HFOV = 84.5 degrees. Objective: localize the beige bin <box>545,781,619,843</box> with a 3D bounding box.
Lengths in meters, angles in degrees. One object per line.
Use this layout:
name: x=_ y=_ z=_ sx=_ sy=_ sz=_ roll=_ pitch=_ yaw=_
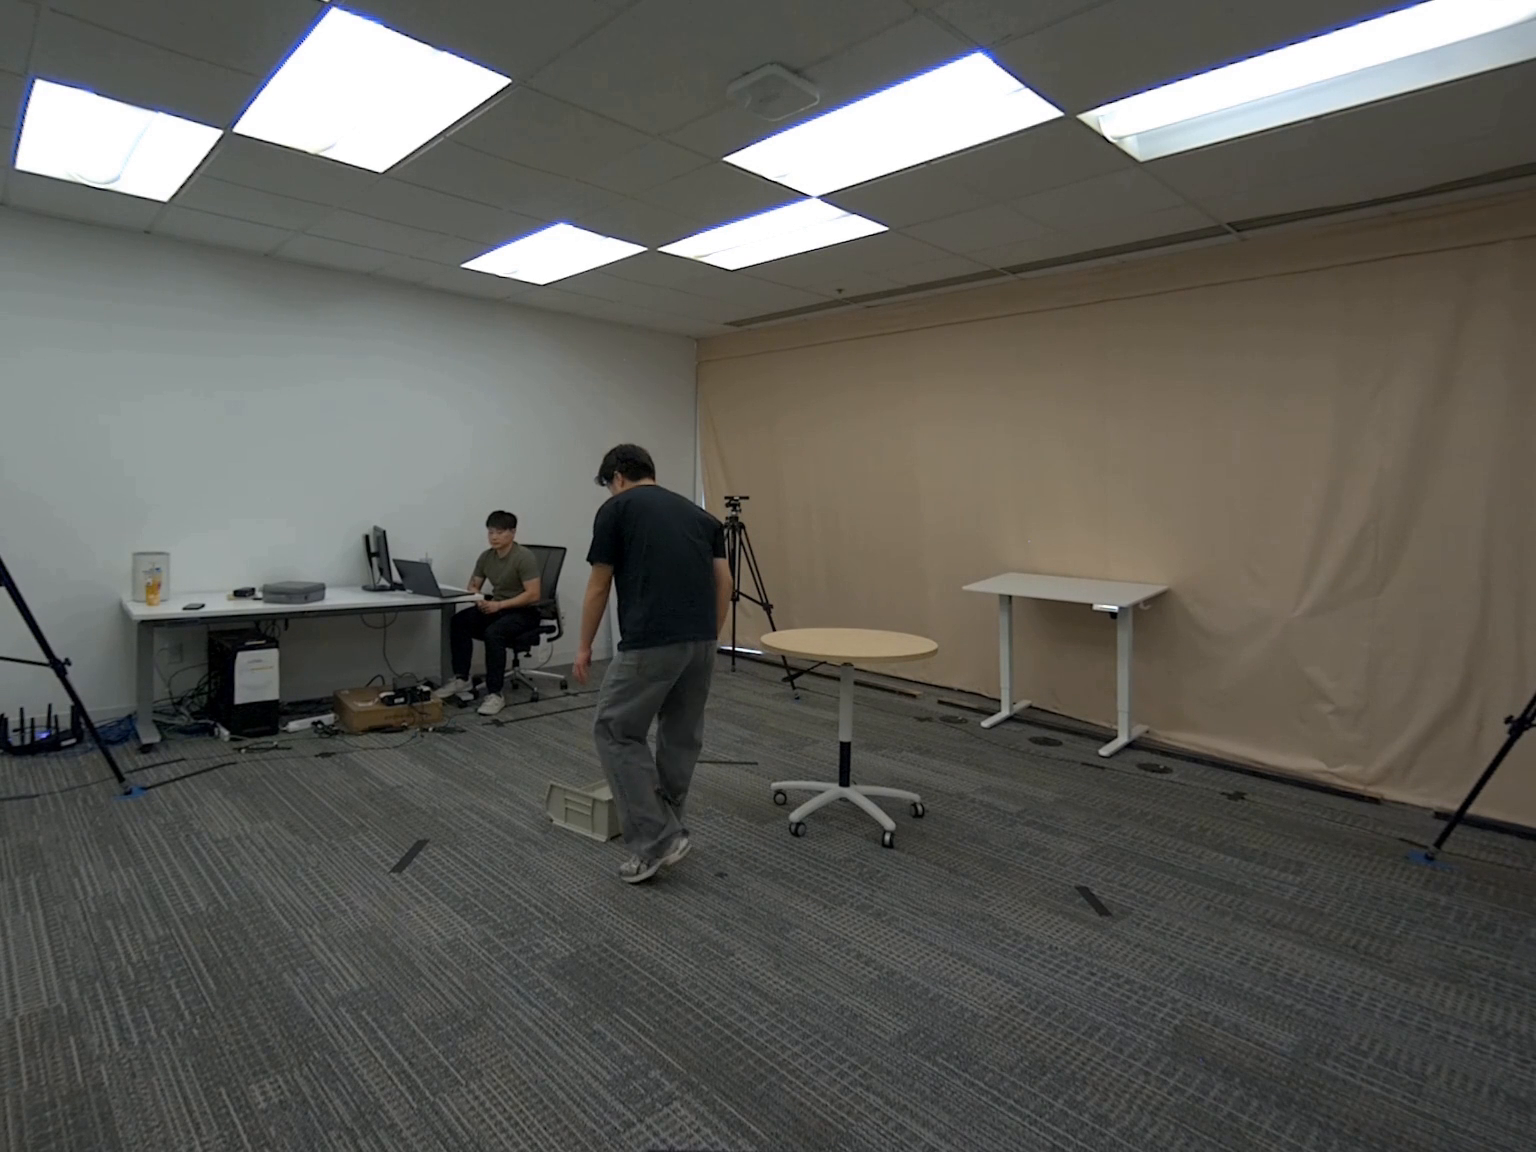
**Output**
beige bin: x=-0.685 y=0.954 z=3.633 sx=0.387 sy=0.188 sz=0.413 roll=6 pitch=6 yaw=36
